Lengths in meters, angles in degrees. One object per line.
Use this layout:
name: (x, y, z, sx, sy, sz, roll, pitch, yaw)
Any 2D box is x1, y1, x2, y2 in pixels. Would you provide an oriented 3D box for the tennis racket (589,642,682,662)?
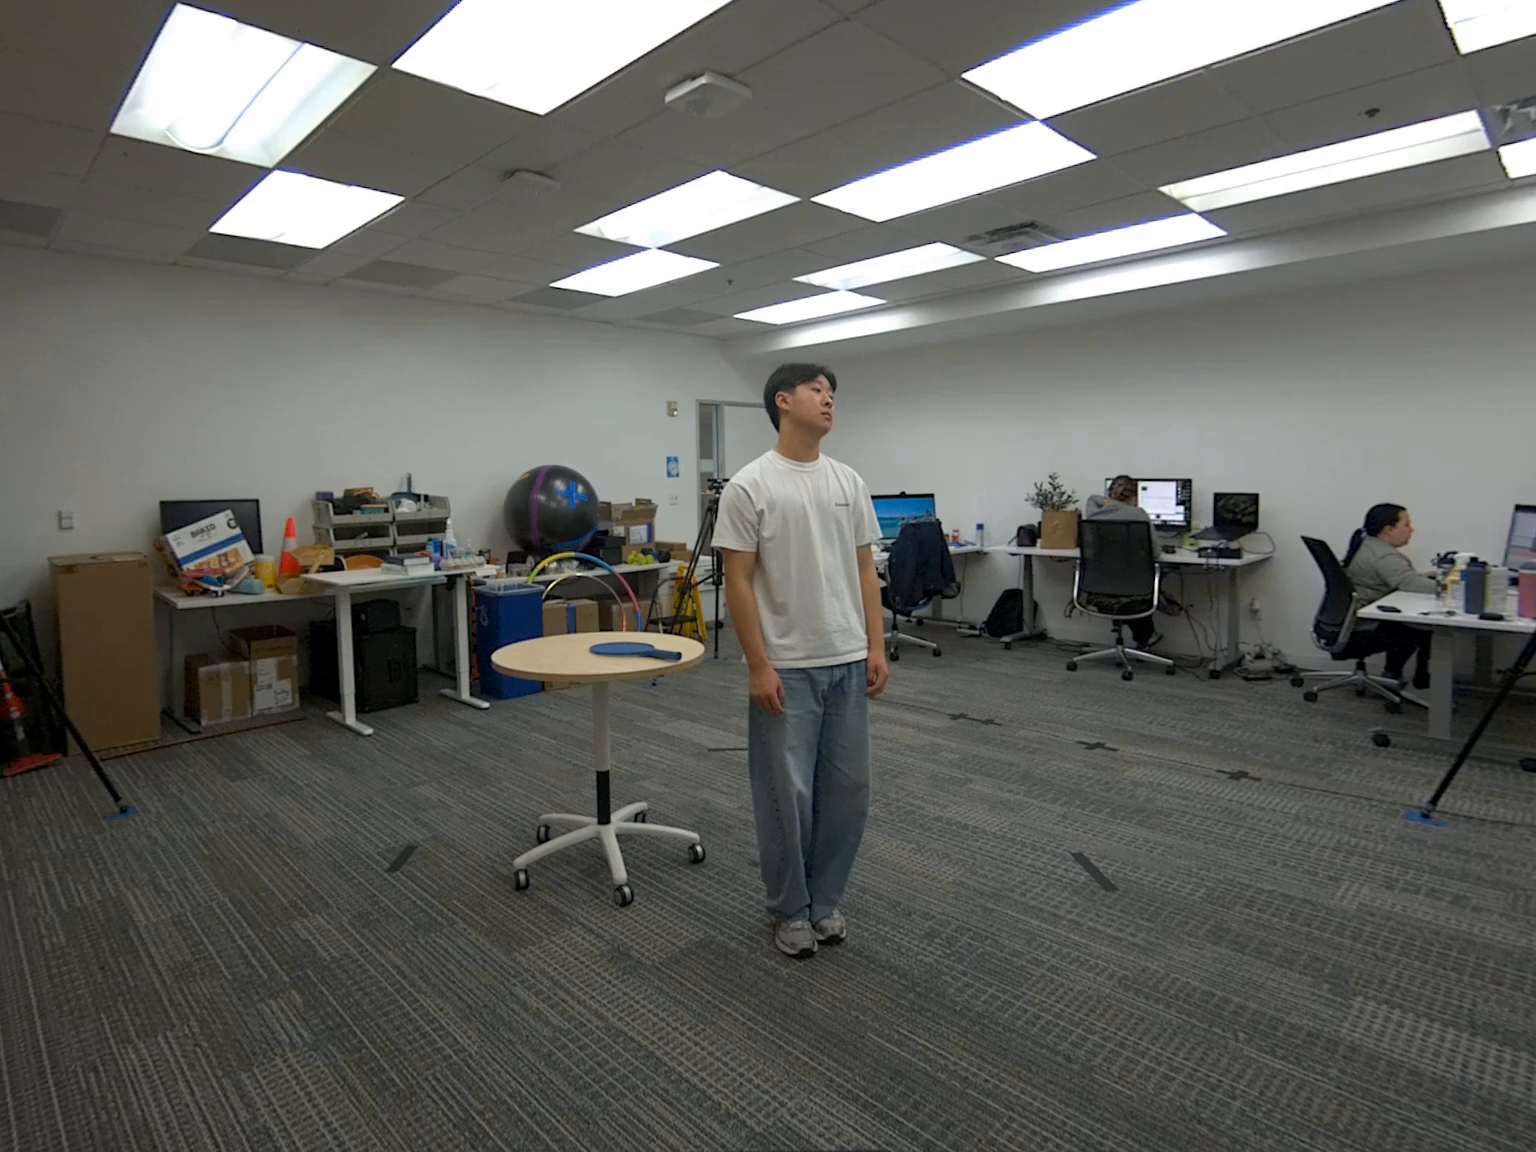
tennis racket: (-0.466, 0.267, 3.035, 0.446, 0.031, 0.208, 2, 7, 43)
